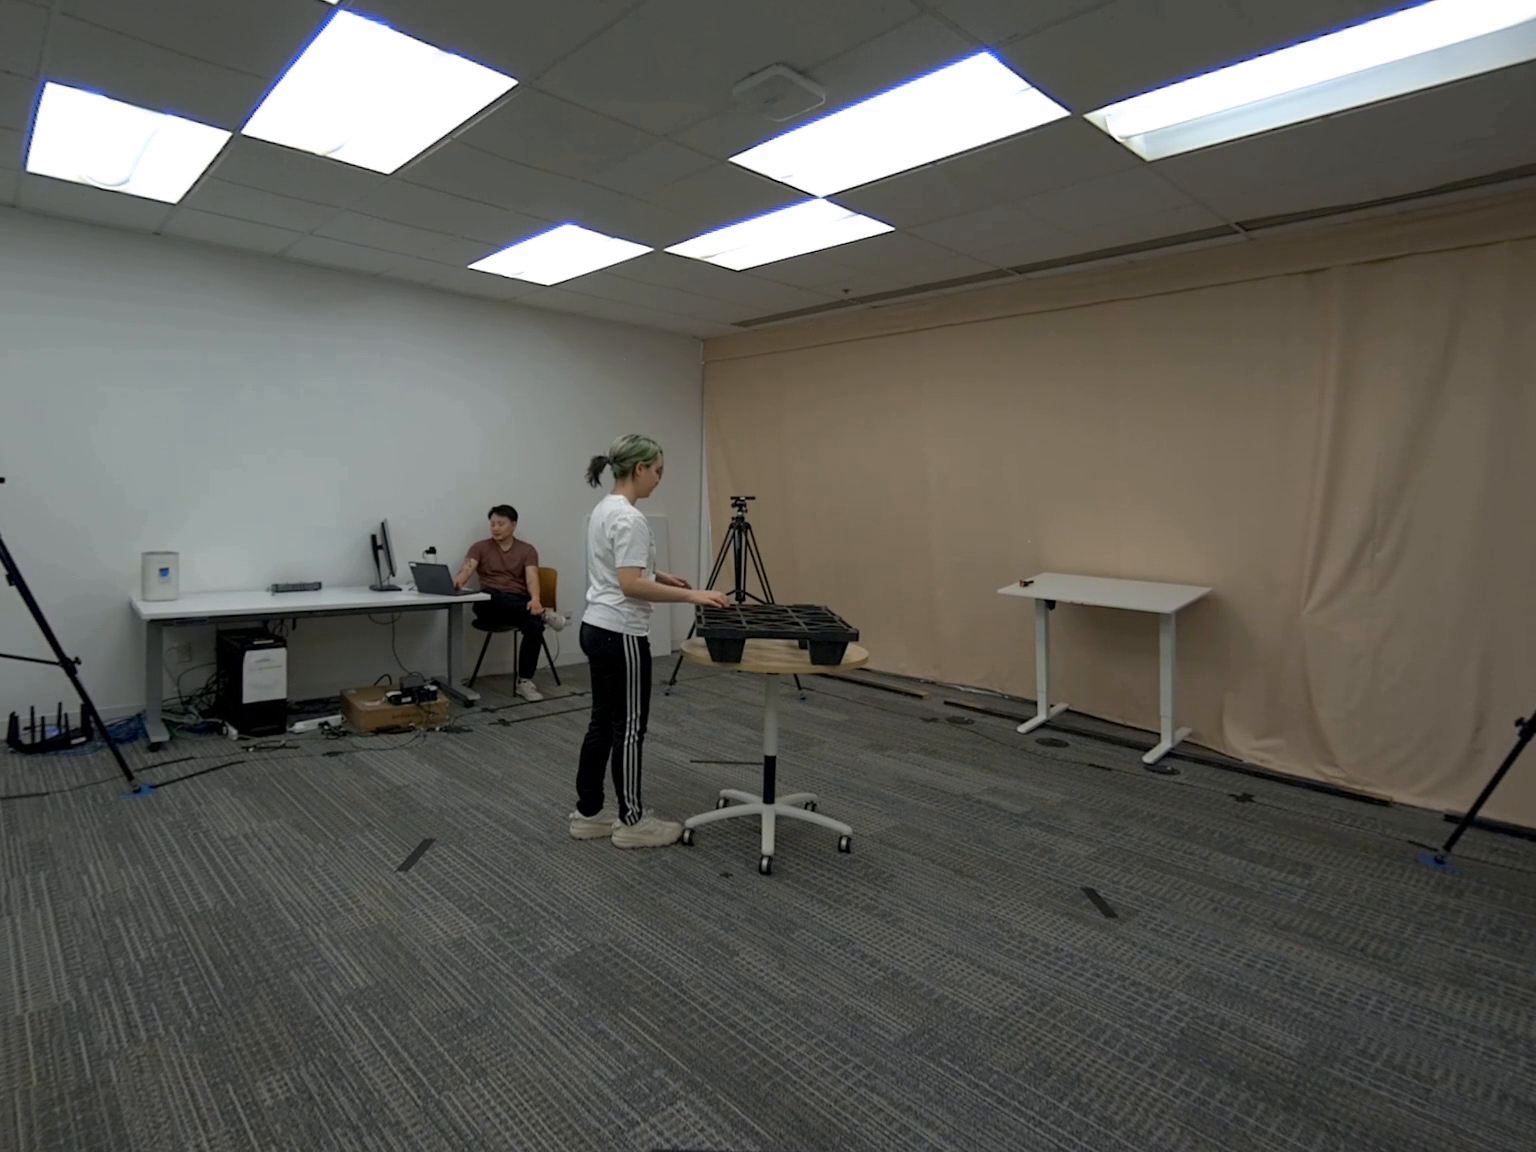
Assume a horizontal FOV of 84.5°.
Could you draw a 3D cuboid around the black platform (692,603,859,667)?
[{"bbox_3d":[-0.013,0.230,3.442,0.603,0.143,0.810,1,5,-5],"label":"black platform"}]
